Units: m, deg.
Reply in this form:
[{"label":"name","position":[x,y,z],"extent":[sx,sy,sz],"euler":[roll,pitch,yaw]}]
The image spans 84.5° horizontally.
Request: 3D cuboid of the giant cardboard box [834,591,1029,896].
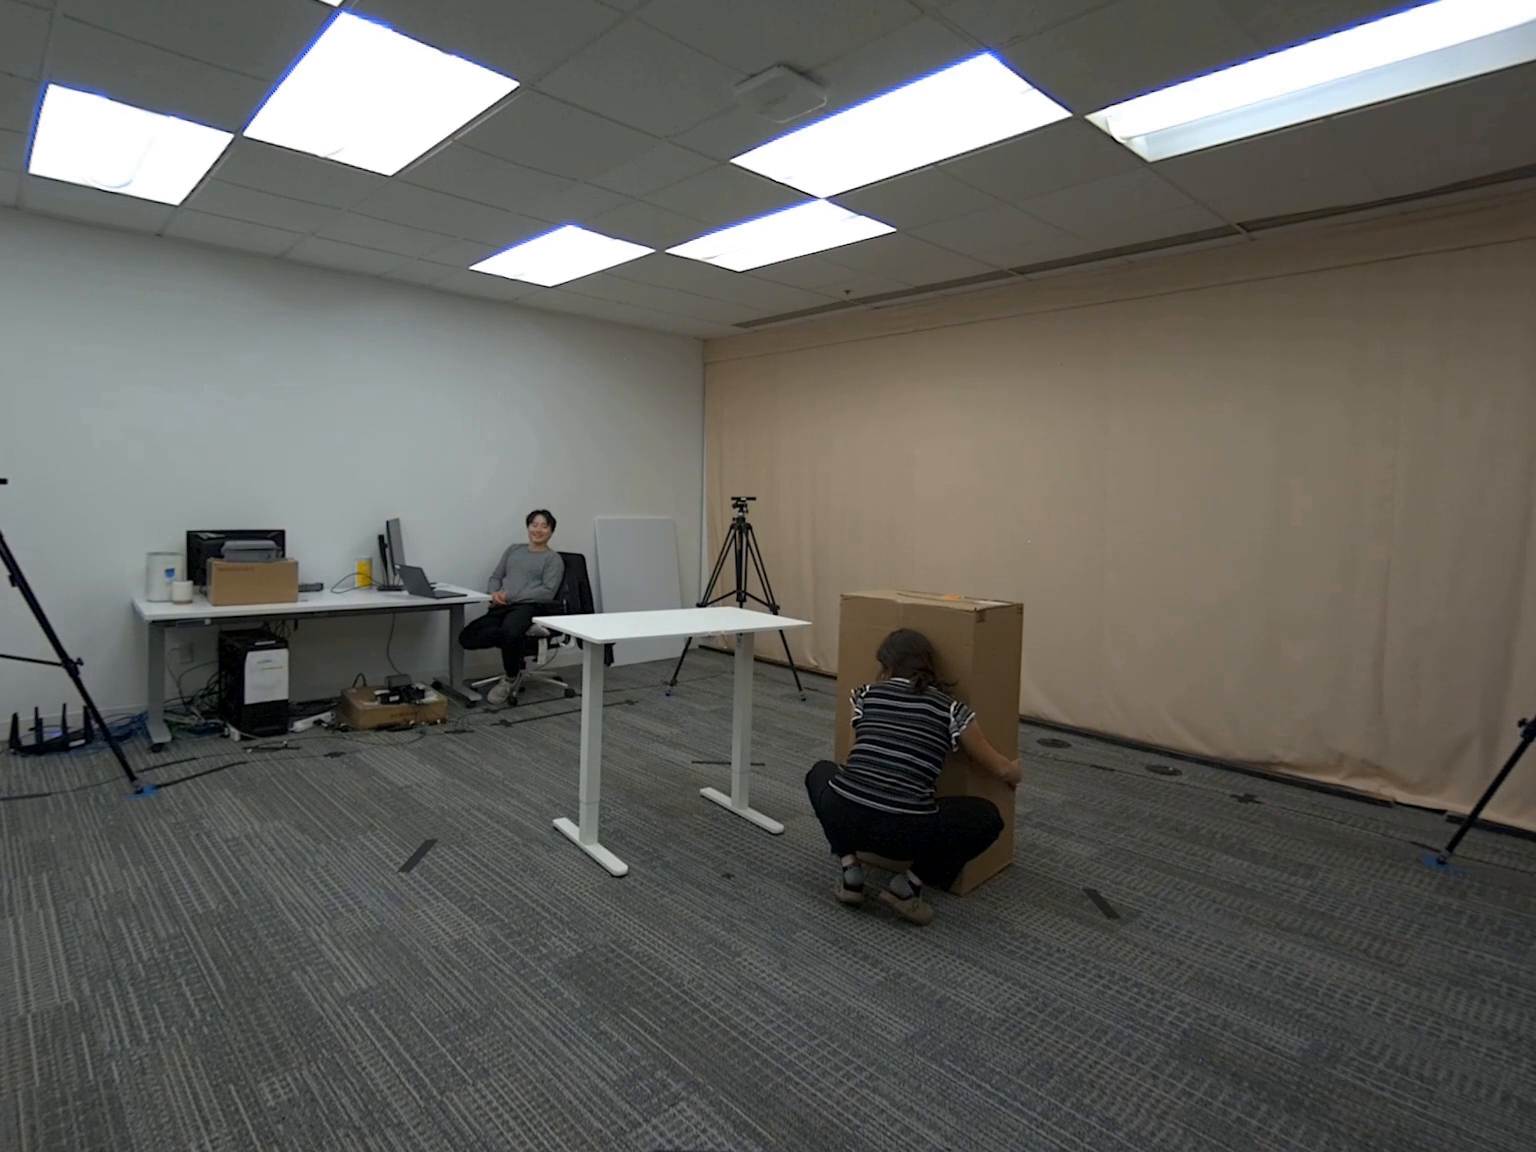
[{"label":"giant cardboard box","position":[0.613,0.593,3.306],"extent":[0.592,1.024,0.416],"euler":[4,3,41]}]
